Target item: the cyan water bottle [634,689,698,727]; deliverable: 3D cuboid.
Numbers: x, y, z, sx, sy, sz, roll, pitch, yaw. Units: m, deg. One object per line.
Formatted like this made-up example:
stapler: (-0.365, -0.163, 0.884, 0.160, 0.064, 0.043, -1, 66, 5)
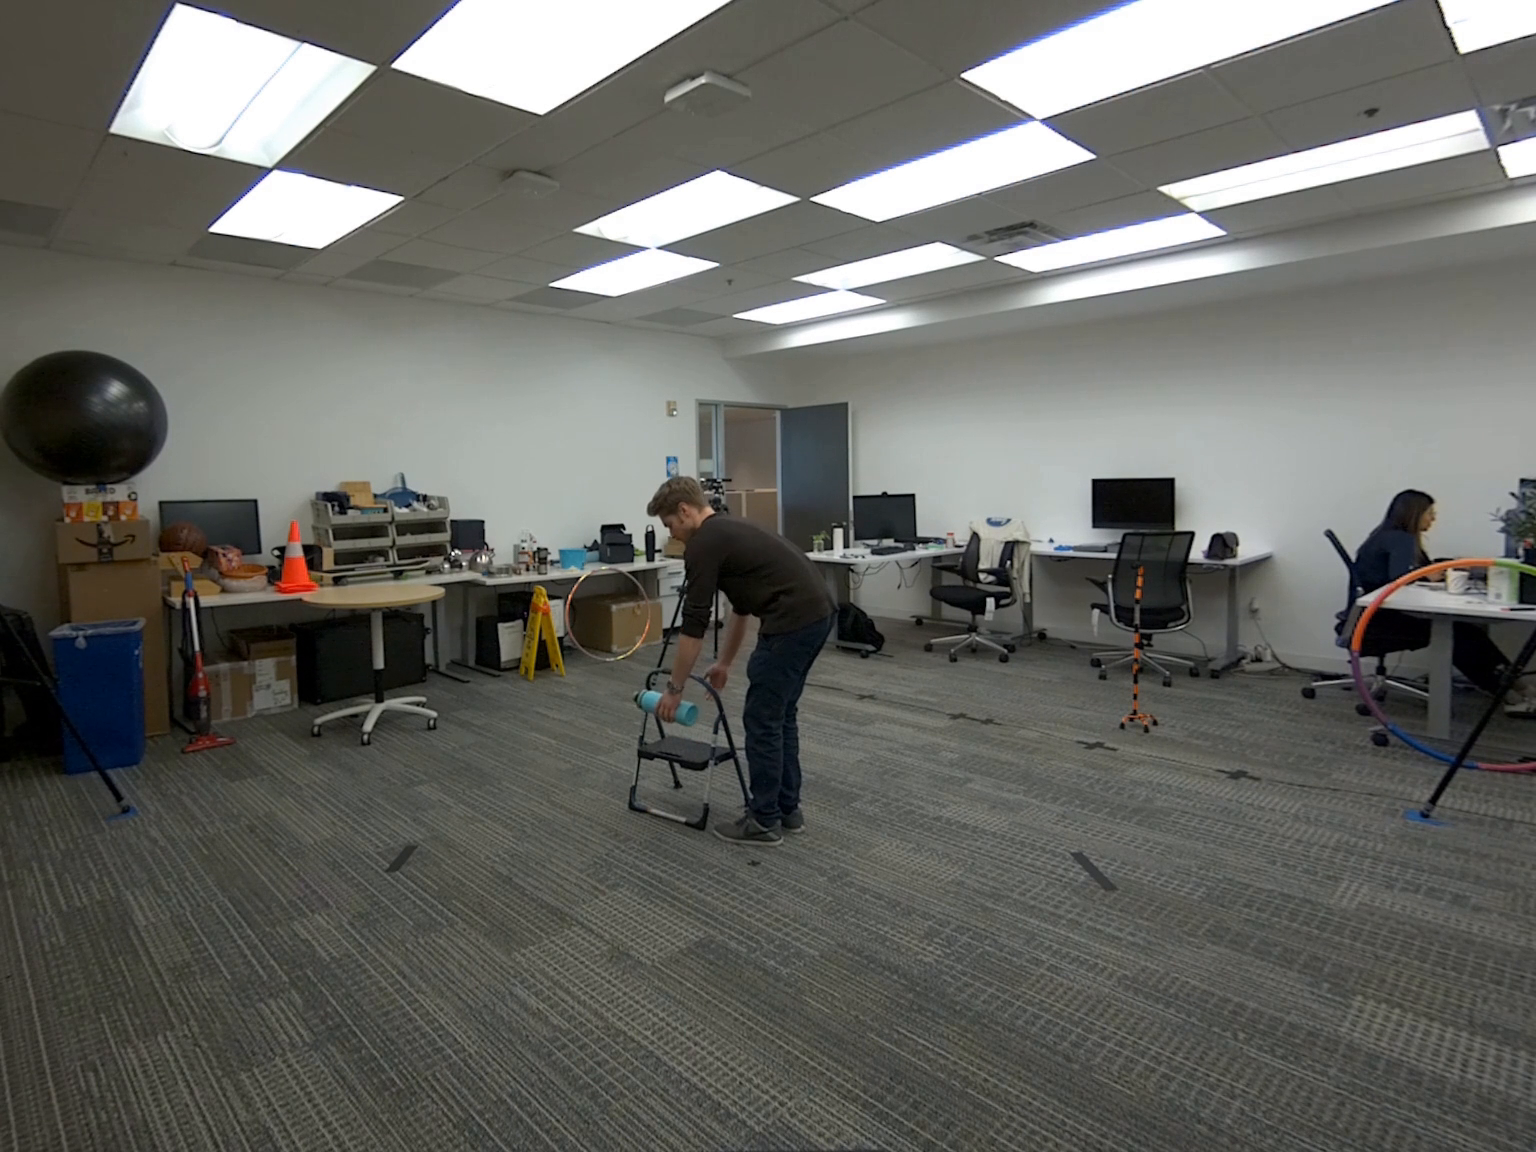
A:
cyan water bottle: (-0.410, 0.510, 3.388, 0.292, 0.092, 0.090, 11, 11, 34)
